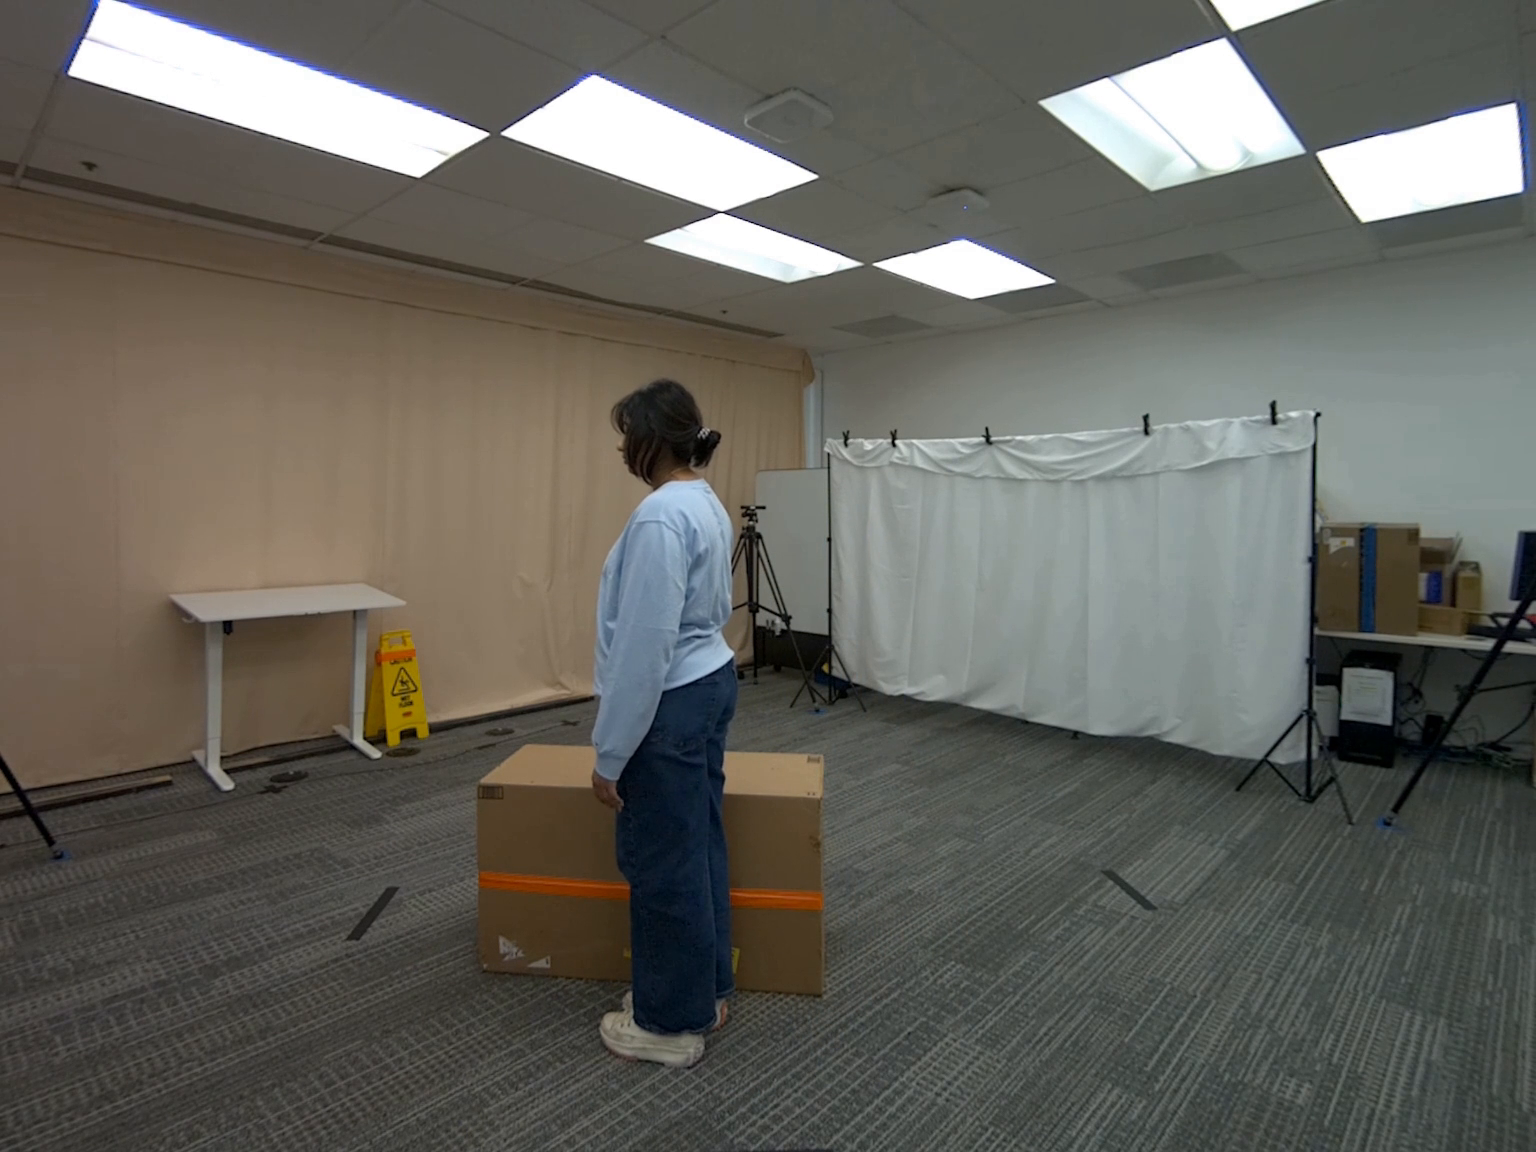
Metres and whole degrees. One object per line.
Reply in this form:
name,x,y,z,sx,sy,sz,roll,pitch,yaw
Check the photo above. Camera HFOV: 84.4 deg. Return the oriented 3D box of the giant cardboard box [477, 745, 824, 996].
giant cardboard box,-0.340,0.885,2.645,1.034,0.576,0.424,1,4,7
